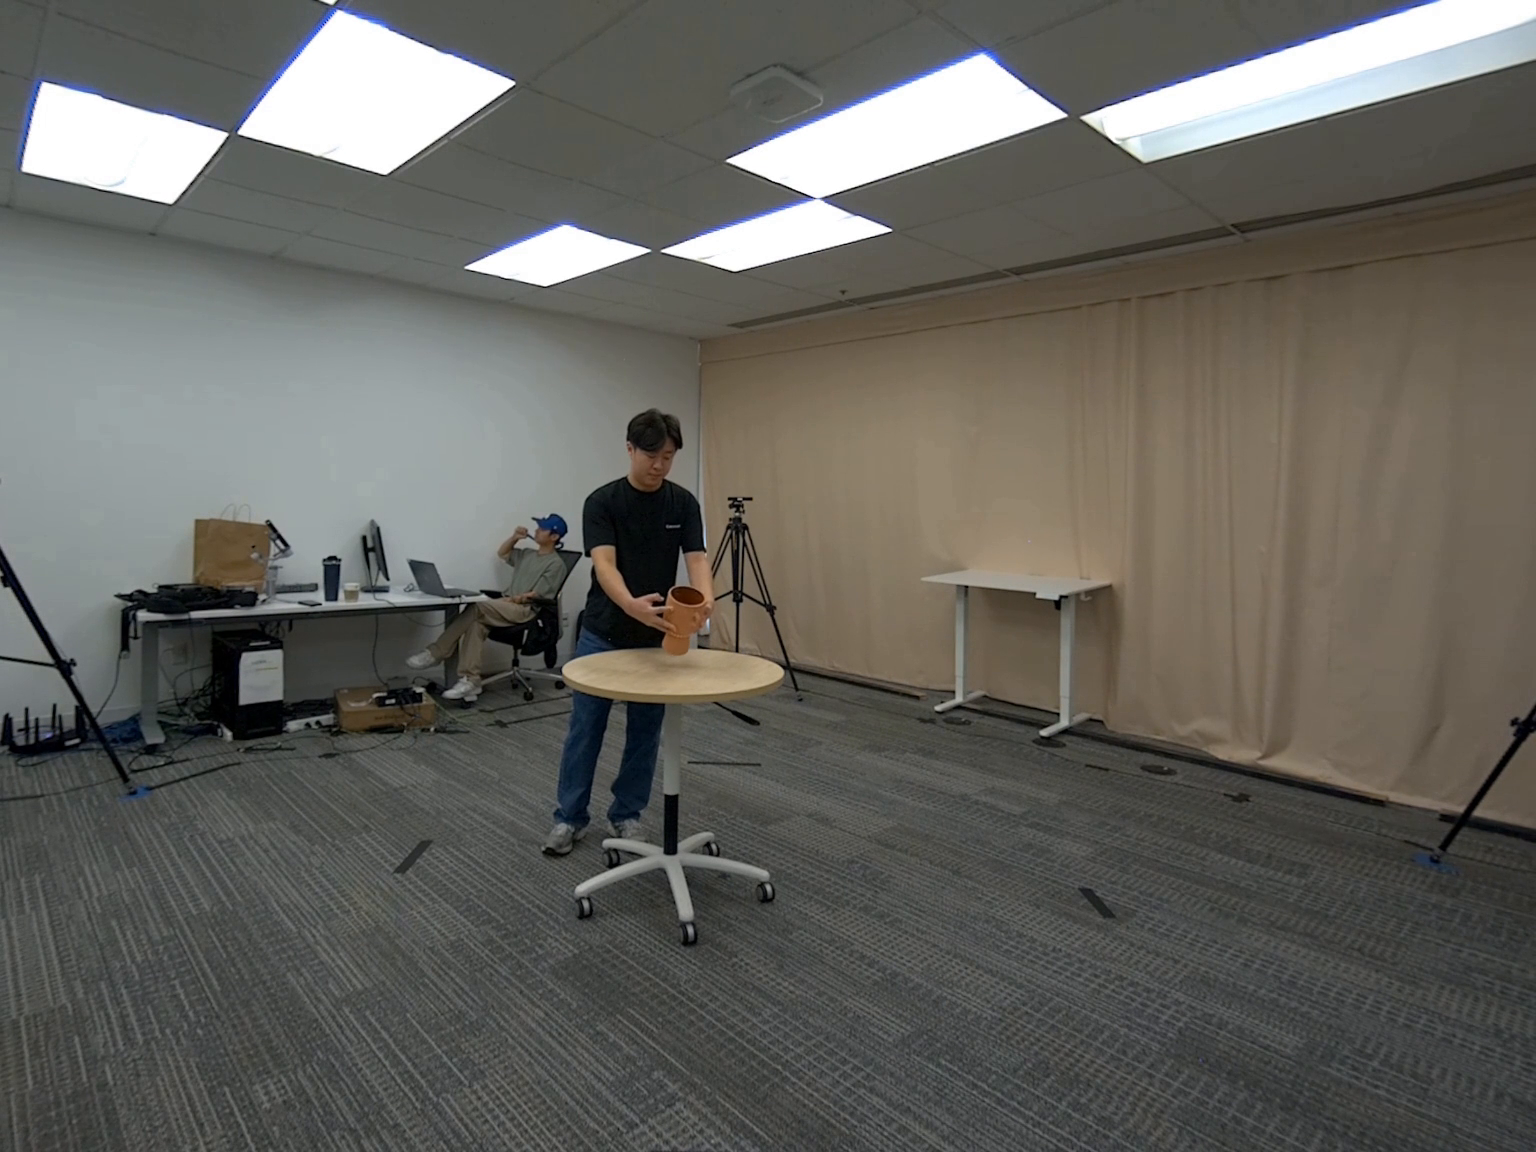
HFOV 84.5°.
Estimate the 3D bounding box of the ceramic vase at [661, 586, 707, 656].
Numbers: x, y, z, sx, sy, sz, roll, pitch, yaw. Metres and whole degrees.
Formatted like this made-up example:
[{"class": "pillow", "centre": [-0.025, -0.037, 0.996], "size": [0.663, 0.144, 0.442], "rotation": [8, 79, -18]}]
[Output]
[{"class": "ceramic vase", "centre": [-0.305, 0.159, 2.906], "size": [0.134, 0.217, 0.161], "rotation": [13, 26, -3]}]
